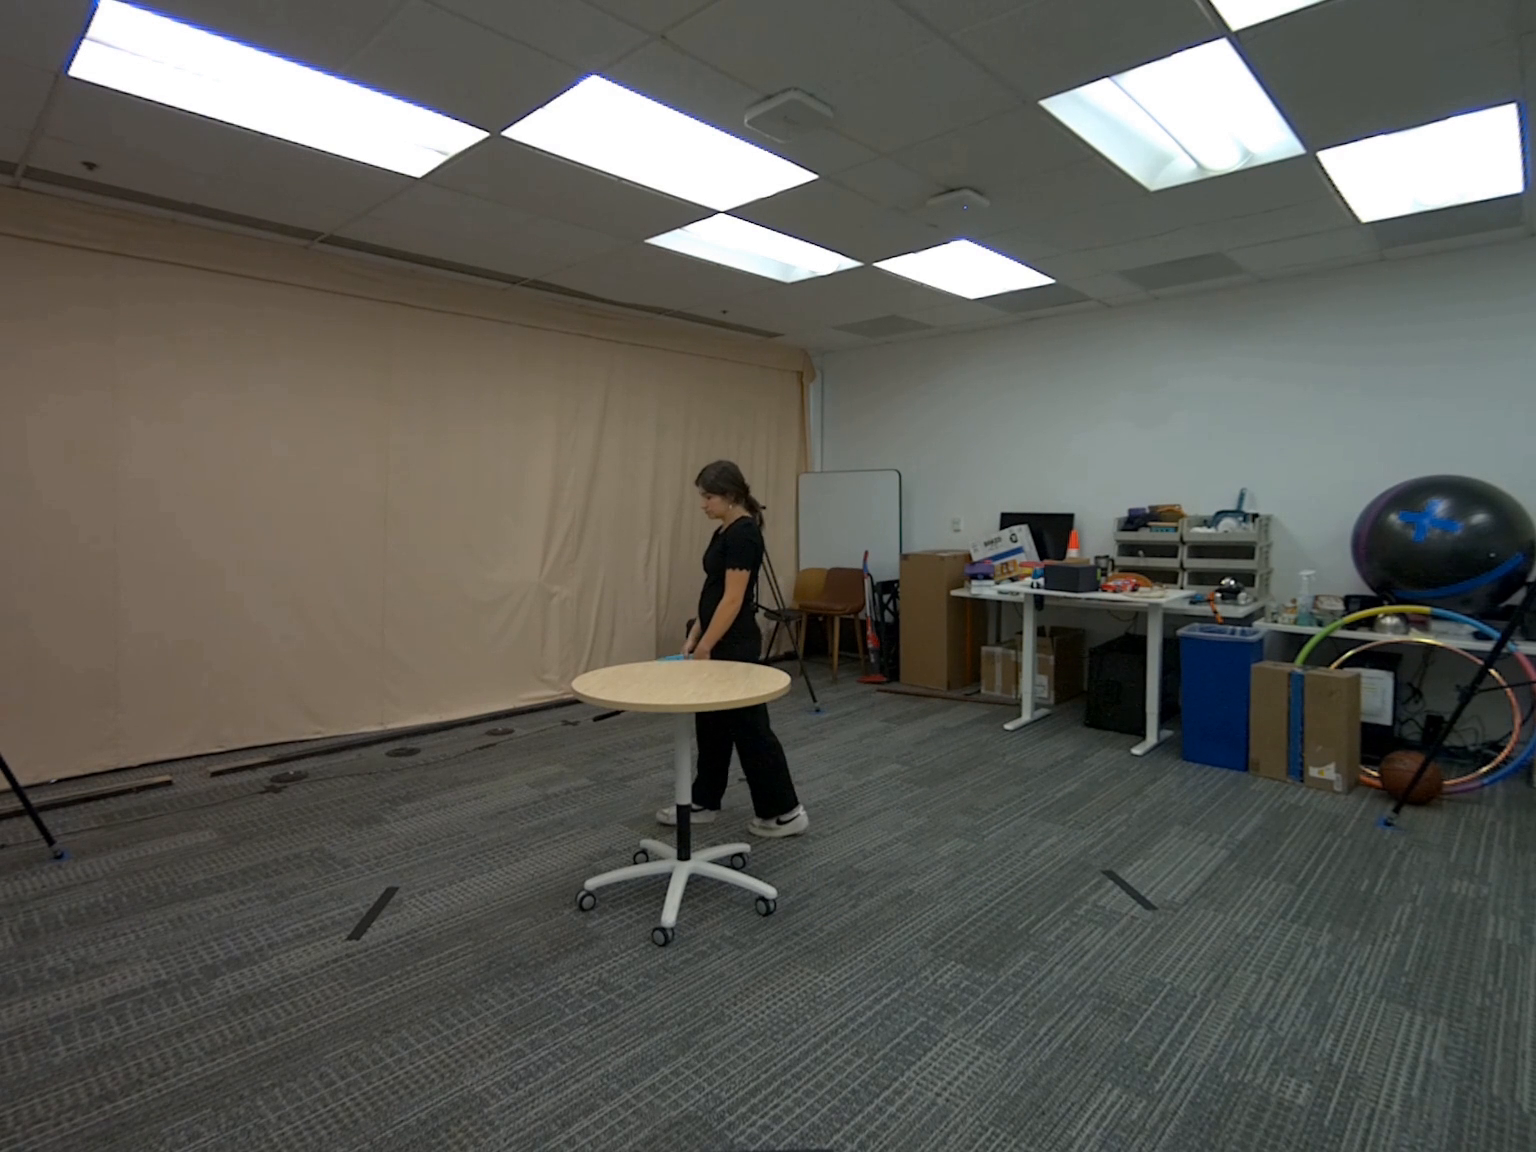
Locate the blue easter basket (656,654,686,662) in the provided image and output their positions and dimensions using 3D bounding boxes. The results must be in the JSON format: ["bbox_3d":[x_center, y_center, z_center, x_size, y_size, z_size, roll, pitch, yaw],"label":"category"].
[{"bbox_3d":[-0.374,0.430,3.569,0.243,0.155,0.244,-7,4,-1],"label":"blue easter basket"}]
